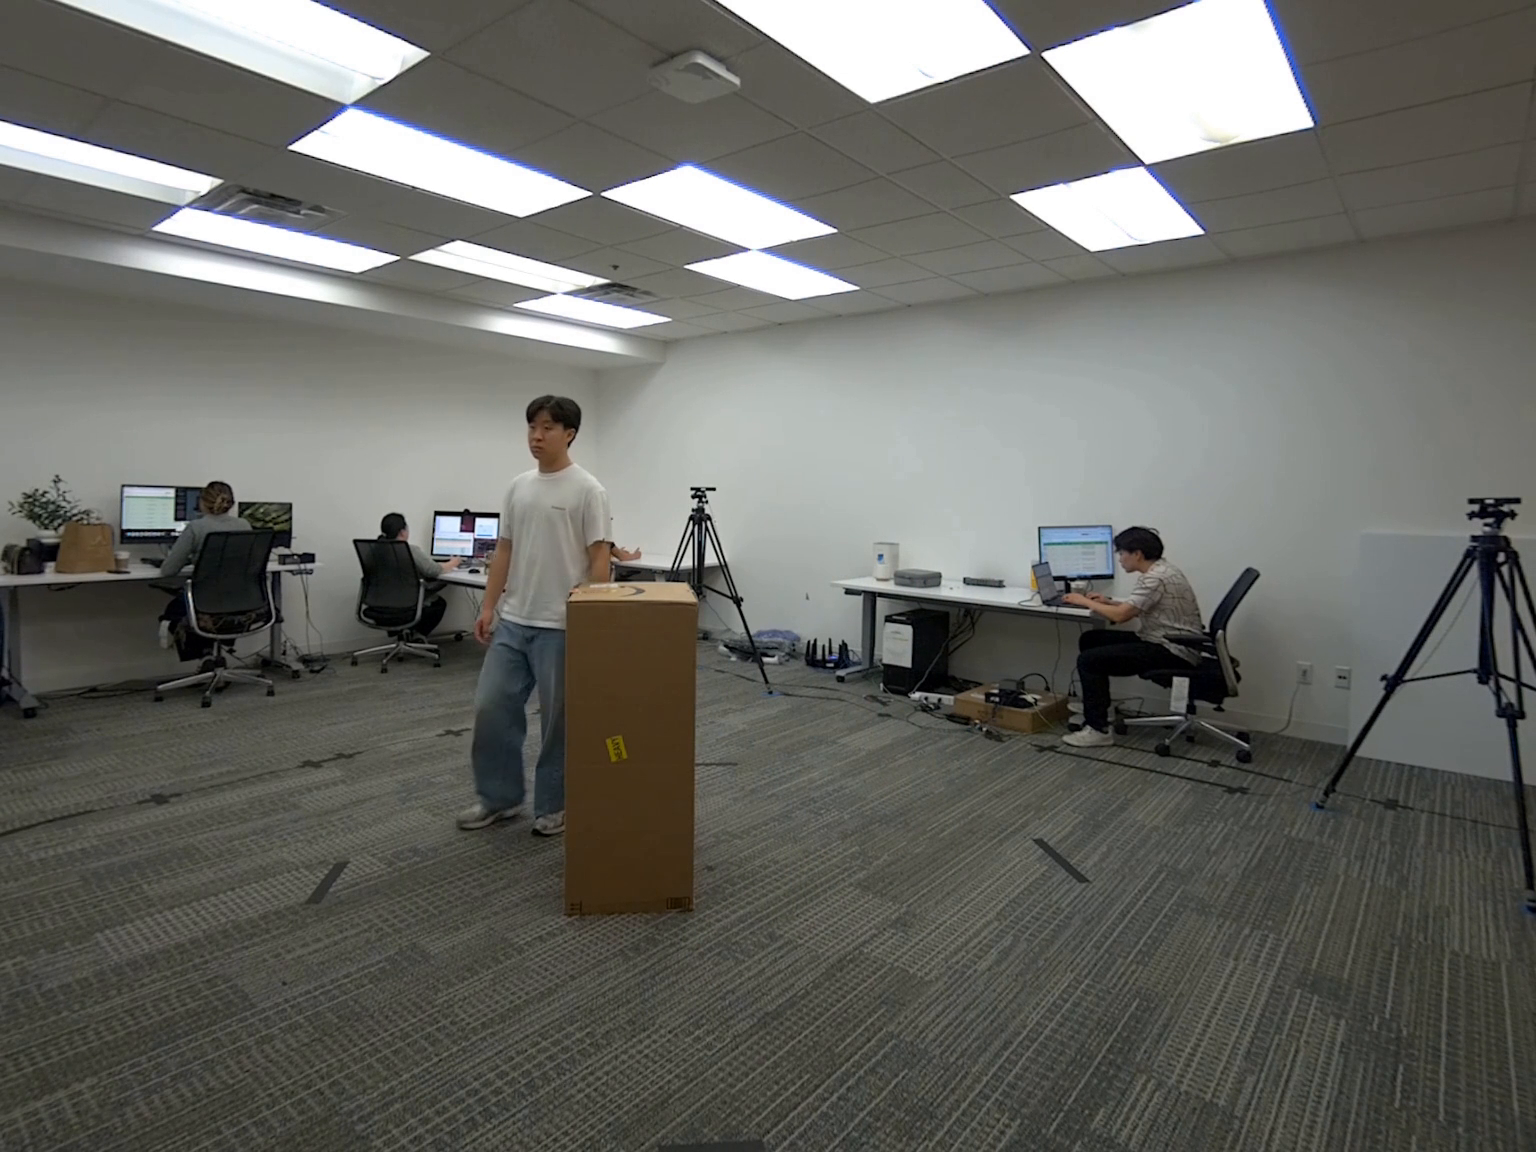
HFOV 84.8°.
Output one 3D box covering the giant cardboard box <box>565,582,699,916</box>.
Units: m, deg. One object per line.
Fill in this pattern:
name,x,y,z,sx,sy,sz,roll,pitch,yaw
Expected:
giant cardboard box,-0.490,0.560,3.022,0.423,1.023,0.584,1,3,-8
